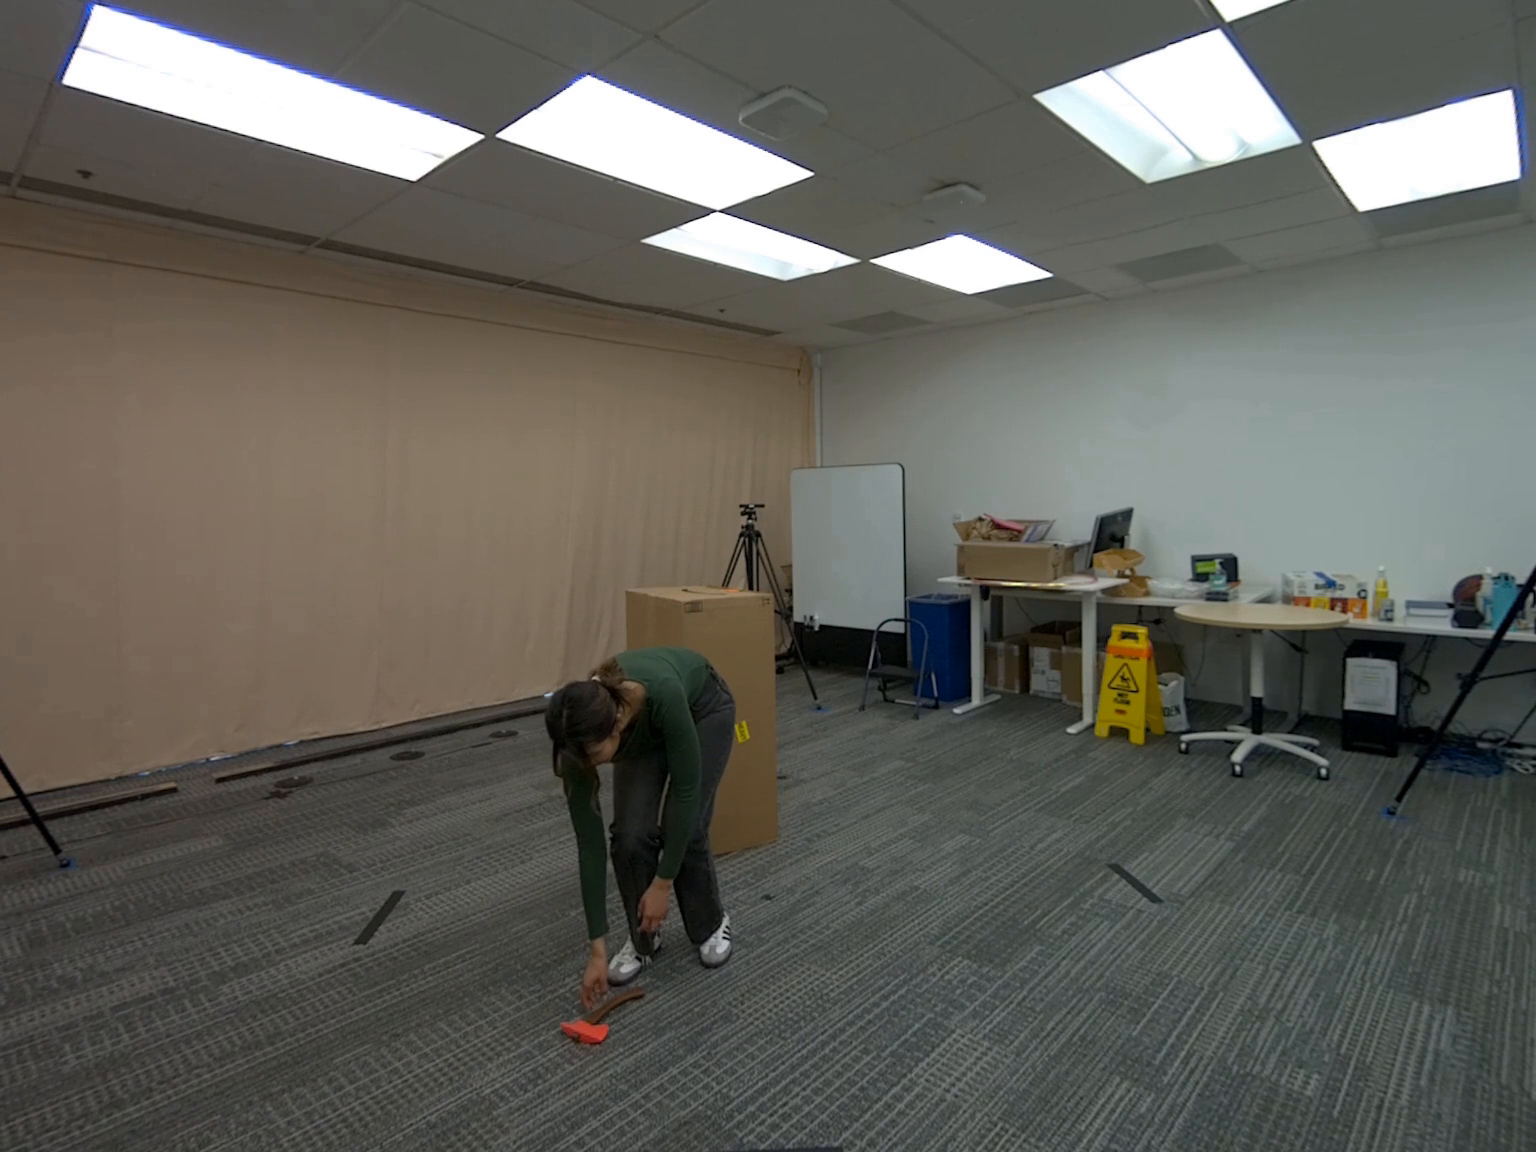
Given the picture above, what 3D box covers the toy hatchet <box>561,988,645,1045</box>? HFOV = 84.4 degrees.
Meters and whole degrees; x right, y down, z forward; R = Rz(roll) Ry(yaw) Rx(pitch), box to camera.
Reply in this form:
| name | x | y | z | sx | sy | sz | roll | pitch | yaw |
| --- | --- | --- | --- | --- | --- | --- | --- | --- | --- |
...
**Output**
| name | x | y | z | sx | sy | sz | roll | pitch | yaw |
| --- | --- | --- | --- | --- | --- | --- | --- | --- | --- |
| toy hatchet | -0.419 | 1.190 | 2.288 | 0.135 | 0.029 | 0.262 | 3 | 5 | 44 |
